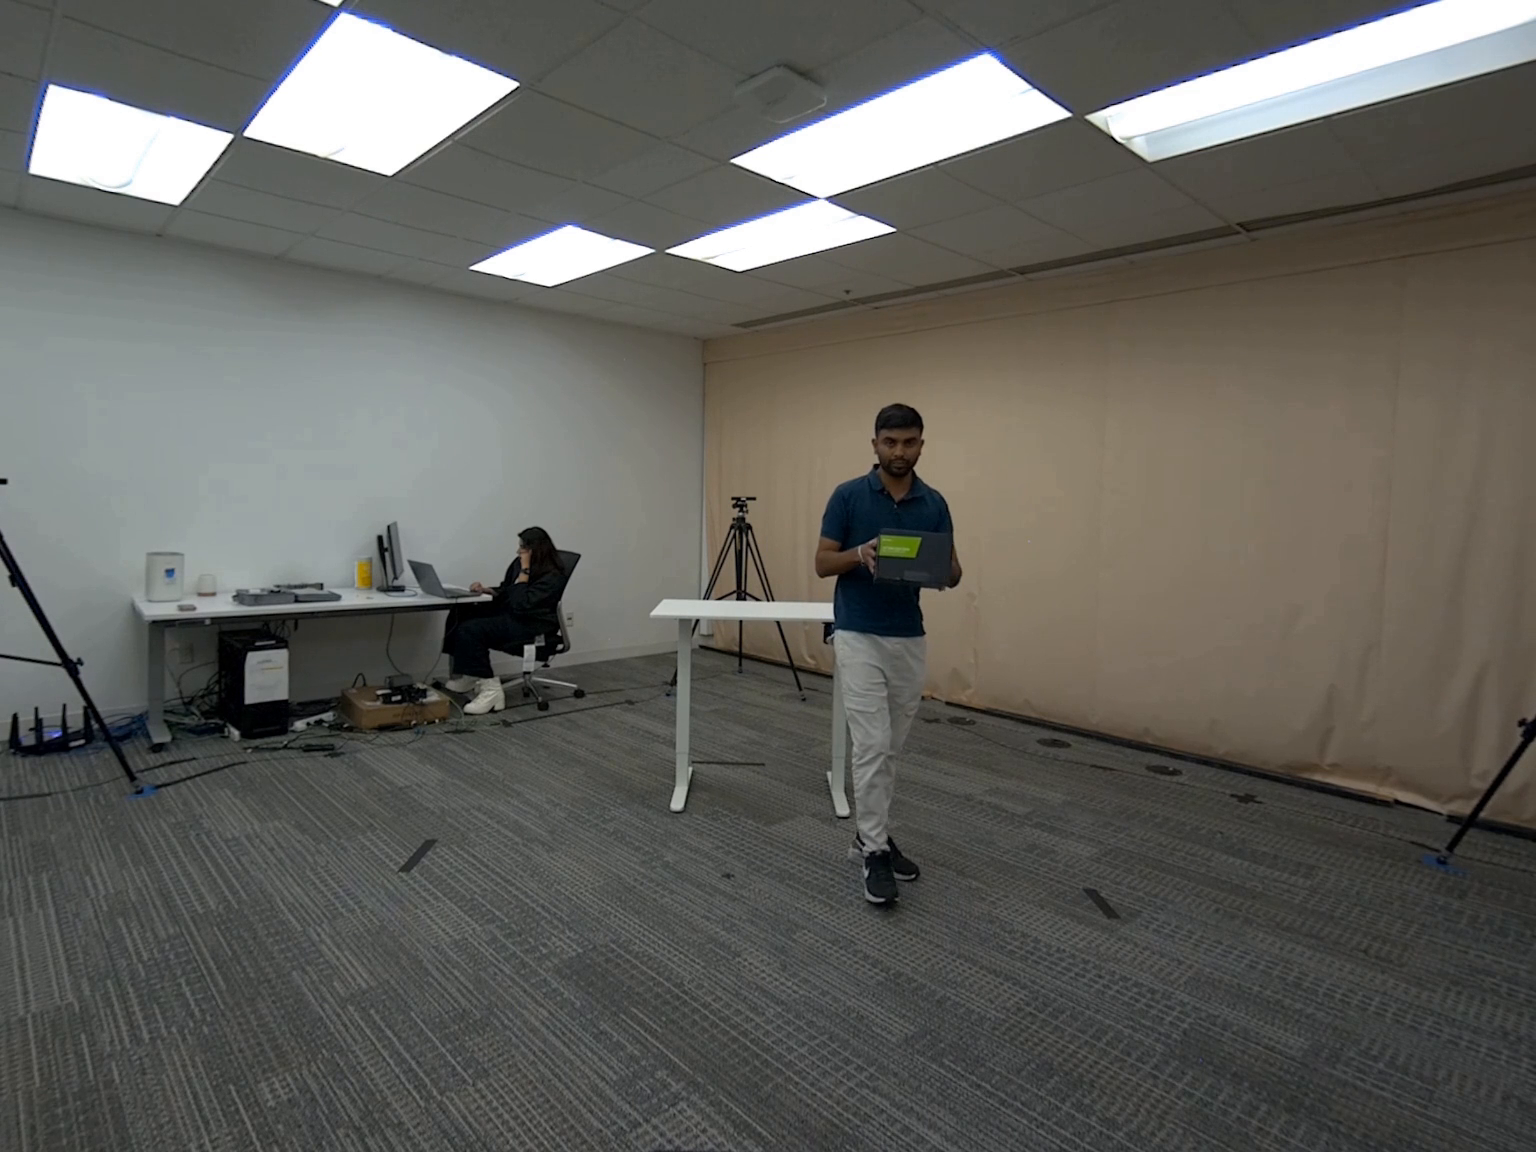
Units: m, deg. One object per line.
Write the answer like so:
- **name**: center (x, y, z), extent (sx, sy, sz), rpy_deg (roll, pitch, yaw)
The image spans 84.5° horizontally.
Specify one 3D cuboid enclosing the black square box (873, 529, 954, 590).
- **black square box**: center (0.463, -0.063, 2.732), extent (0.229, 0.156, 0.215), rpy_deg (3, -2, 8)
